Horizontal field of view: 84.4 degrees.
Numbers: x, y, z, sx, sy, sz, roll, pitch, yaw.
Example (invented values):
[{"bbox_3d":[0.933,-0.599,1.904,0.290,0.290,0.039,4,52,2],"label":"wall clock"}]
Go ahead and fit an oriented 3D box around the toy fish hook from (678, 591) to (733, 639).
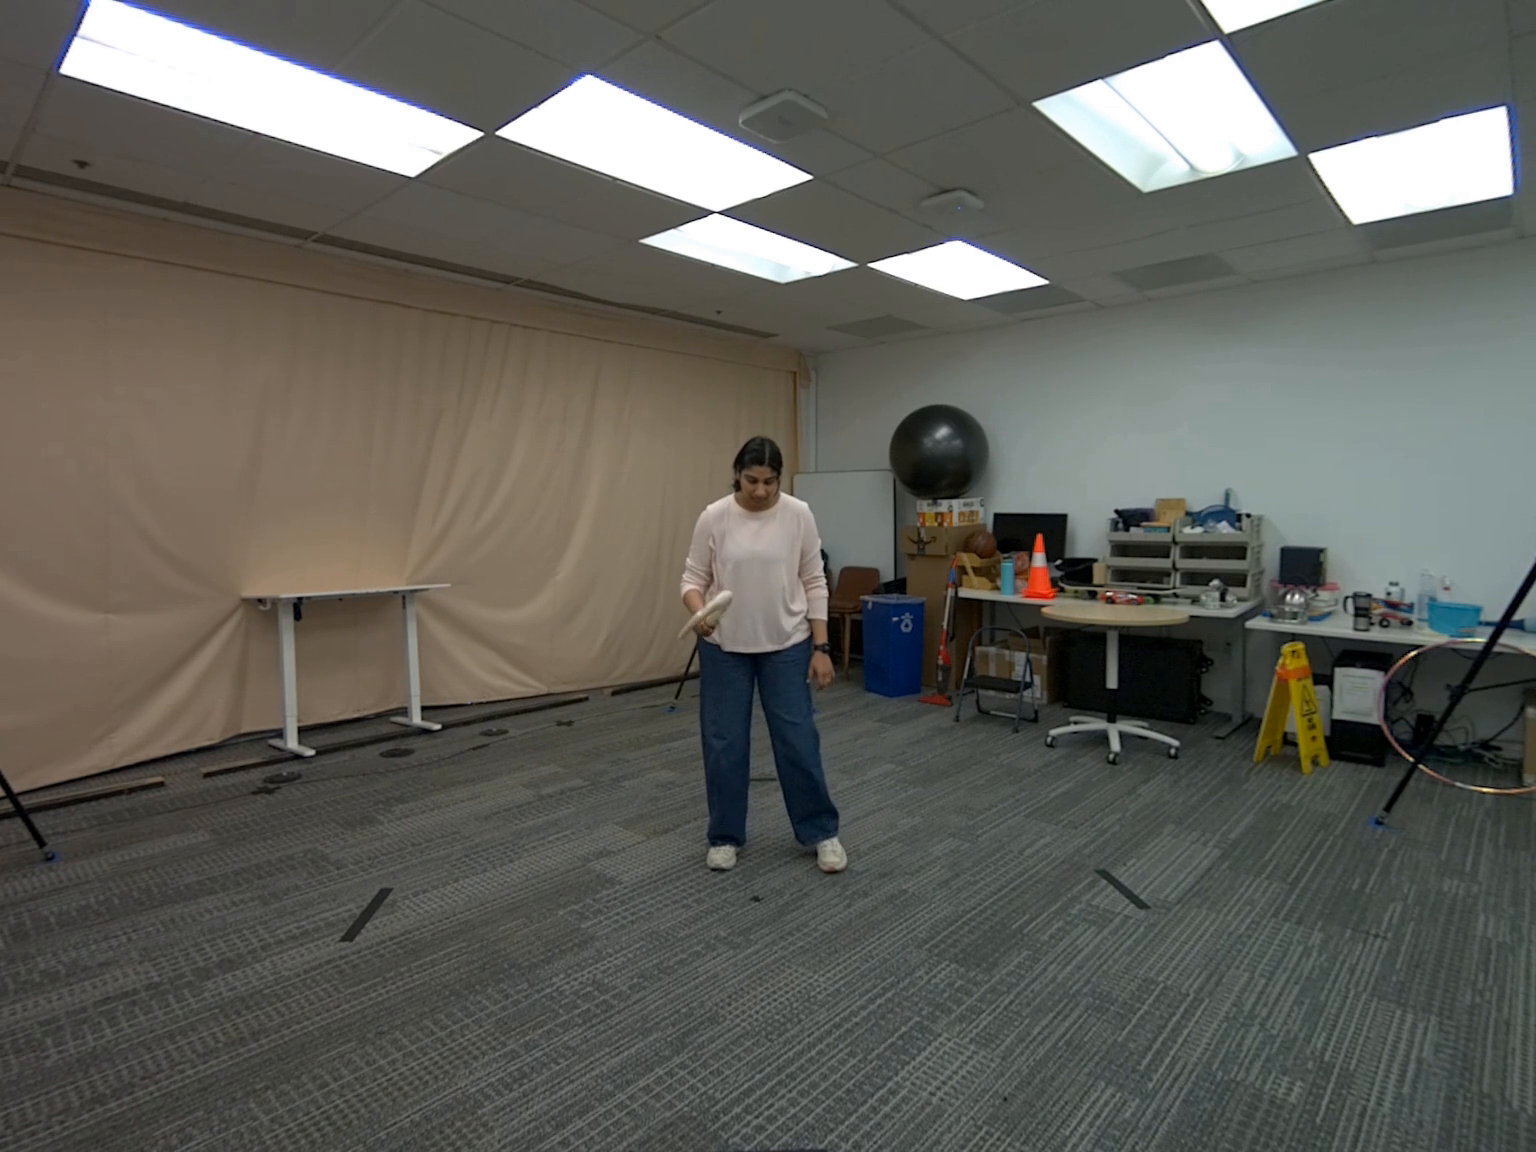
[{"bbox_3d":[-0.231,0.176,2.865,0.222,0.049,0.505,-34,-9,-18],"label":"toy fish hook"}]
